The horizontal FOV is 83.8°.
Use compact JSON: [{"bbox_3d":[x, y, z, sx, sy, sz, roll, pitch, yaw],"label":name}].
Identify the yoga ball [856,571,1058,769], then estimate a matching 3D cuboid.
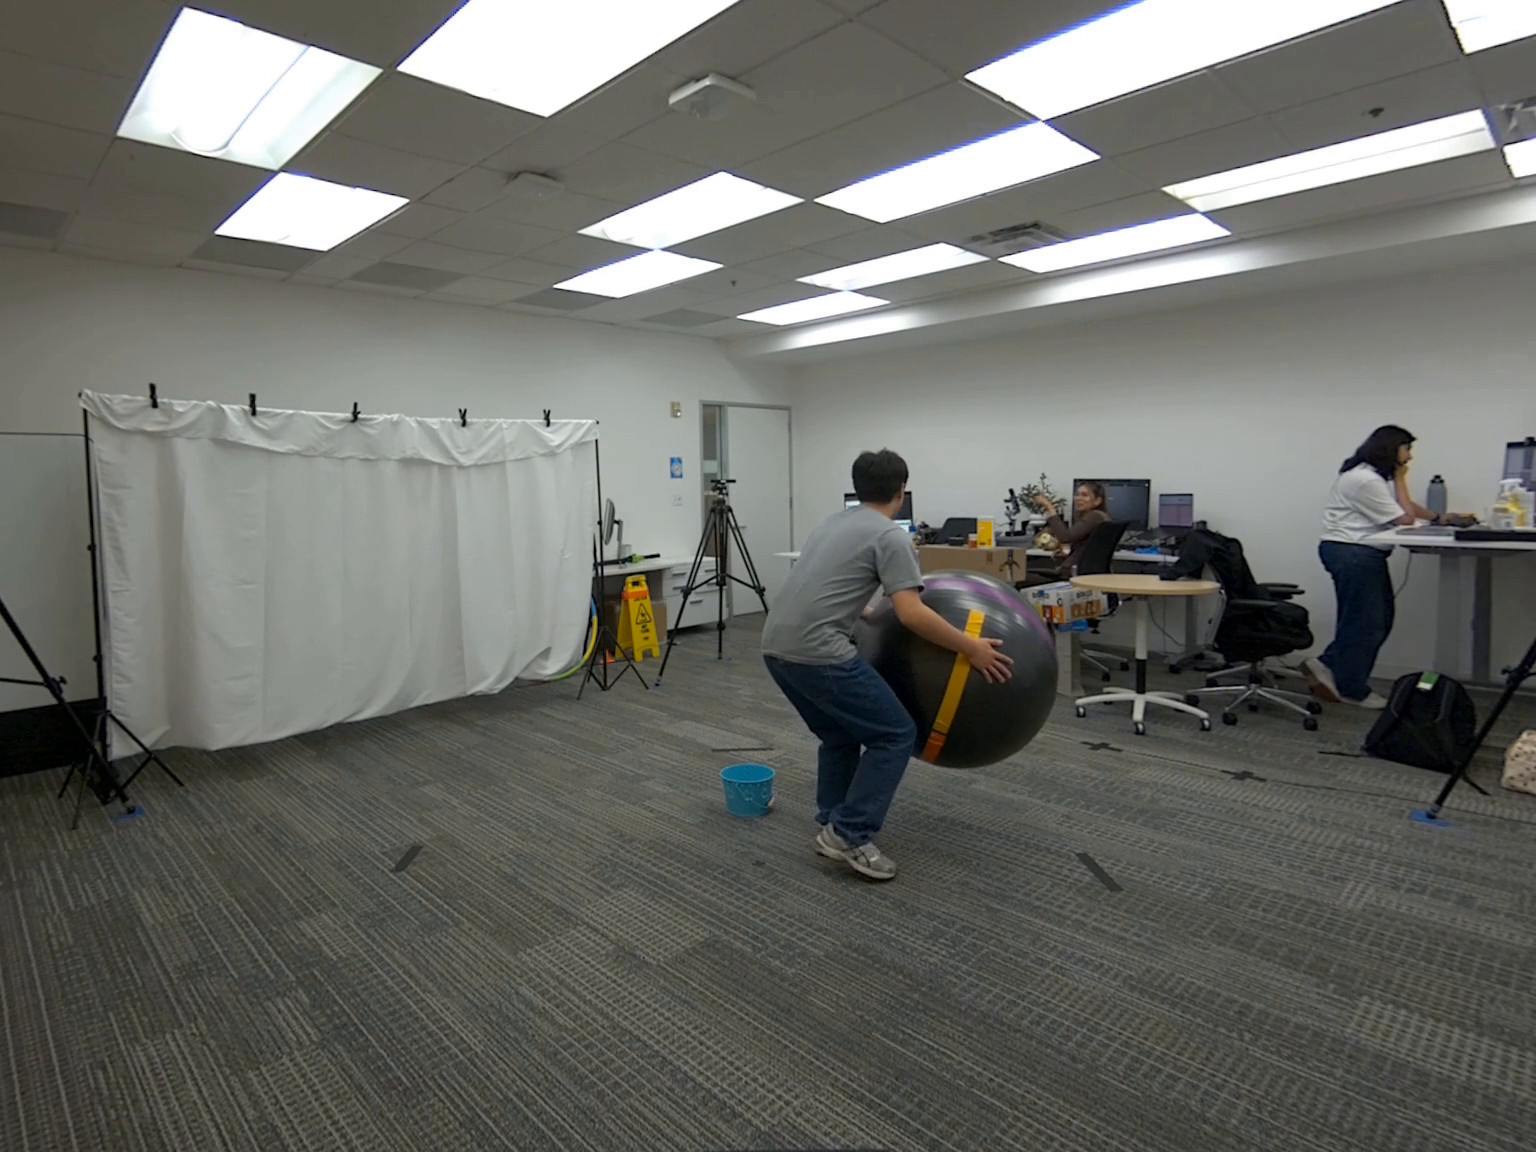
[{"bbox_3d":[0.726,0.360,3.323,0.757,0.755,0.762,-1,5,-2],"label":"yoga ball"}]
